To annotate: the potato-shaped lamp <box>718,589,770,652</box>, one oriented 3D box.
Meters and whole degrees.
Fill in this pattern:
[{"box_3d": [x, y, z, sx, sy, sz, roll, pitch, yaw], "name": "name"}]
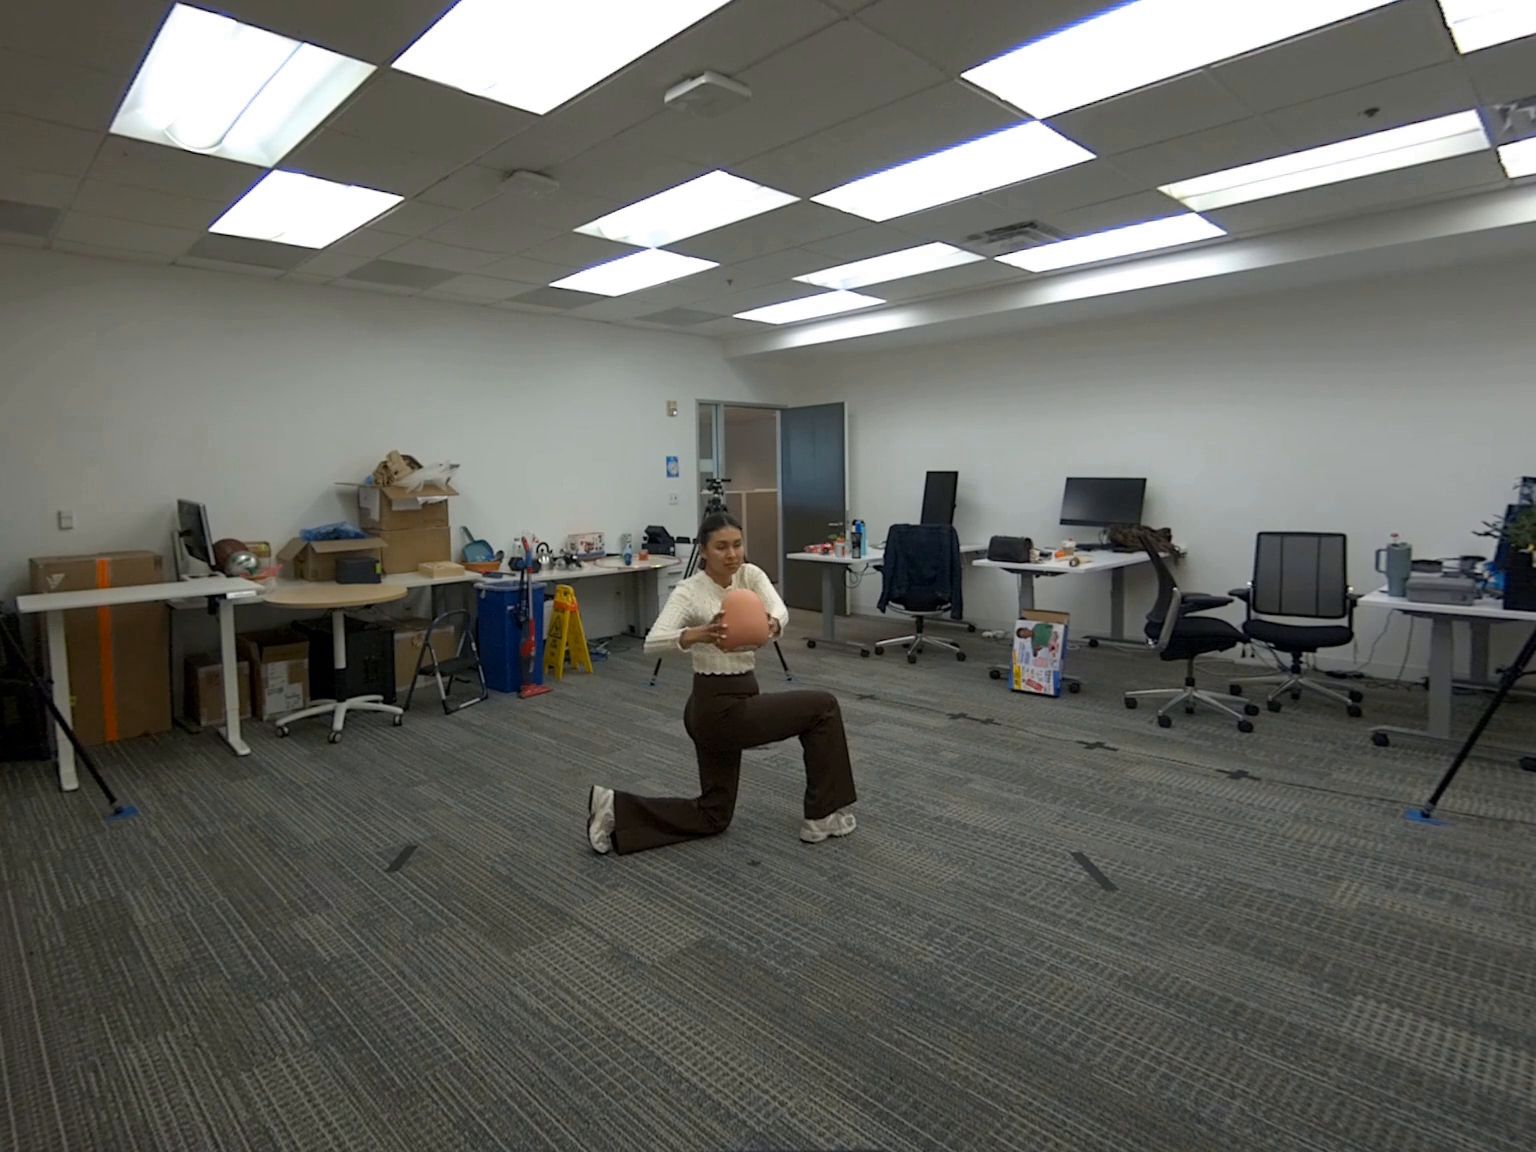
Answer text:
[{"box_3d": [-0.058, 0.138, 2.786, 0.162, 0.200, 0.172, -1, -13, -19], "name": "potato-shaped lamp"}]
